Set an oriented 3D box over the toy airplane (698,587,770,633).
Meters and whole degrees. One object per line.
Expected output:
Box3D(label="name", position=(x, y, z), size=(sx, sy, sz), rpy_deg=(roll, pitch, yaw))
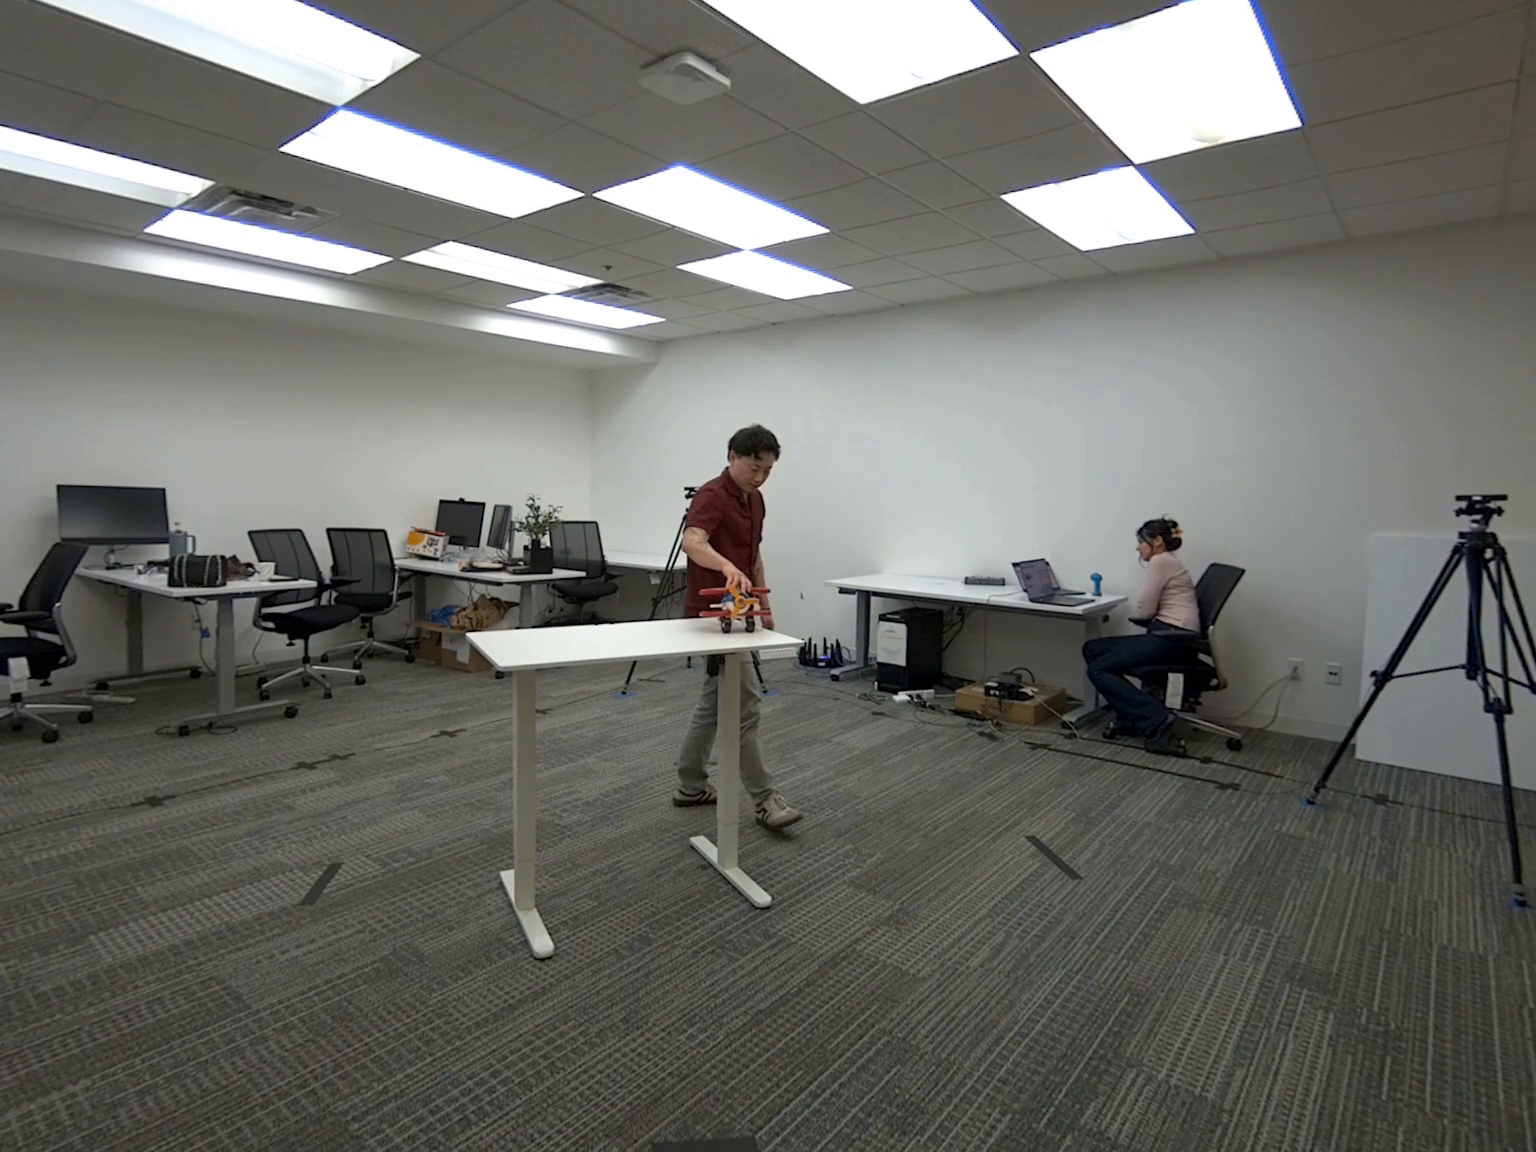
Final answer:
Box3D(label="toy airplane", position=(-0.157, 0.106, 3.062), size=(0.244, 0.155, 0.269), rpy_deg=(-5, 11, -41))
